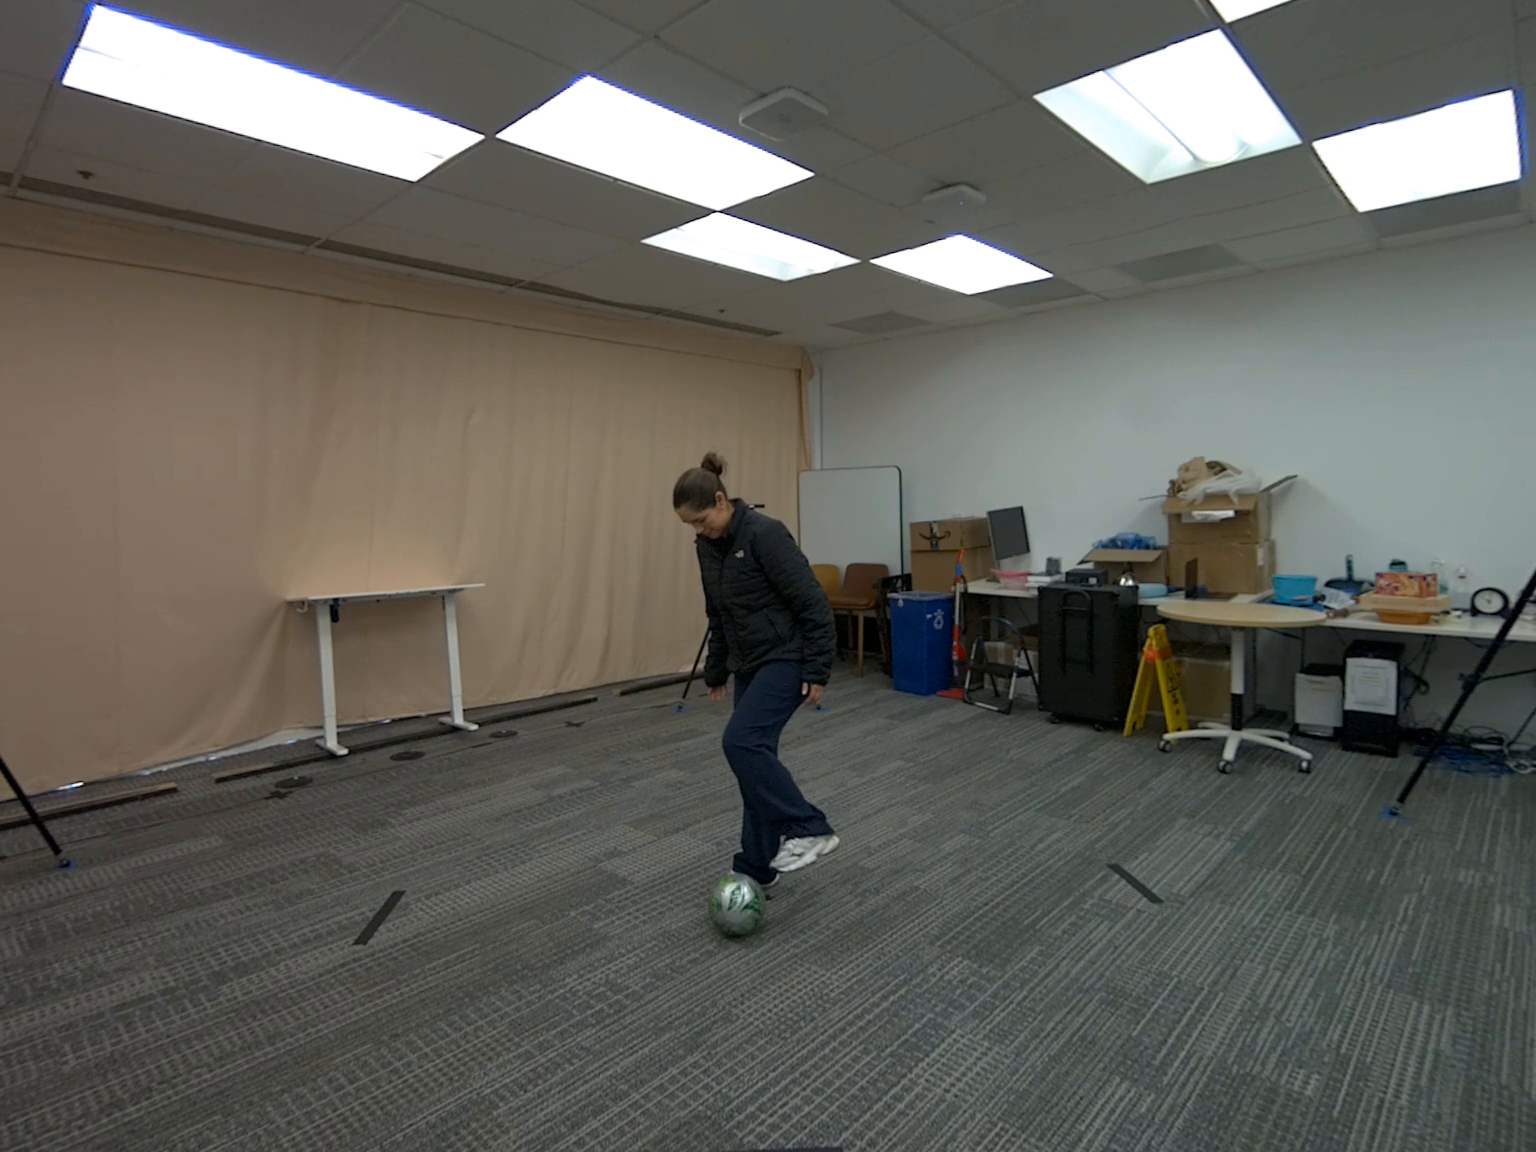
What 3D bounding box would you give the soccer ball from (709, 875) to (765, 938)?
[{"bbox_3d":[-0.100,1.066,2.736,0.187,0.187,0.188,-1,4,-2],"label":"soccer ball"}]
